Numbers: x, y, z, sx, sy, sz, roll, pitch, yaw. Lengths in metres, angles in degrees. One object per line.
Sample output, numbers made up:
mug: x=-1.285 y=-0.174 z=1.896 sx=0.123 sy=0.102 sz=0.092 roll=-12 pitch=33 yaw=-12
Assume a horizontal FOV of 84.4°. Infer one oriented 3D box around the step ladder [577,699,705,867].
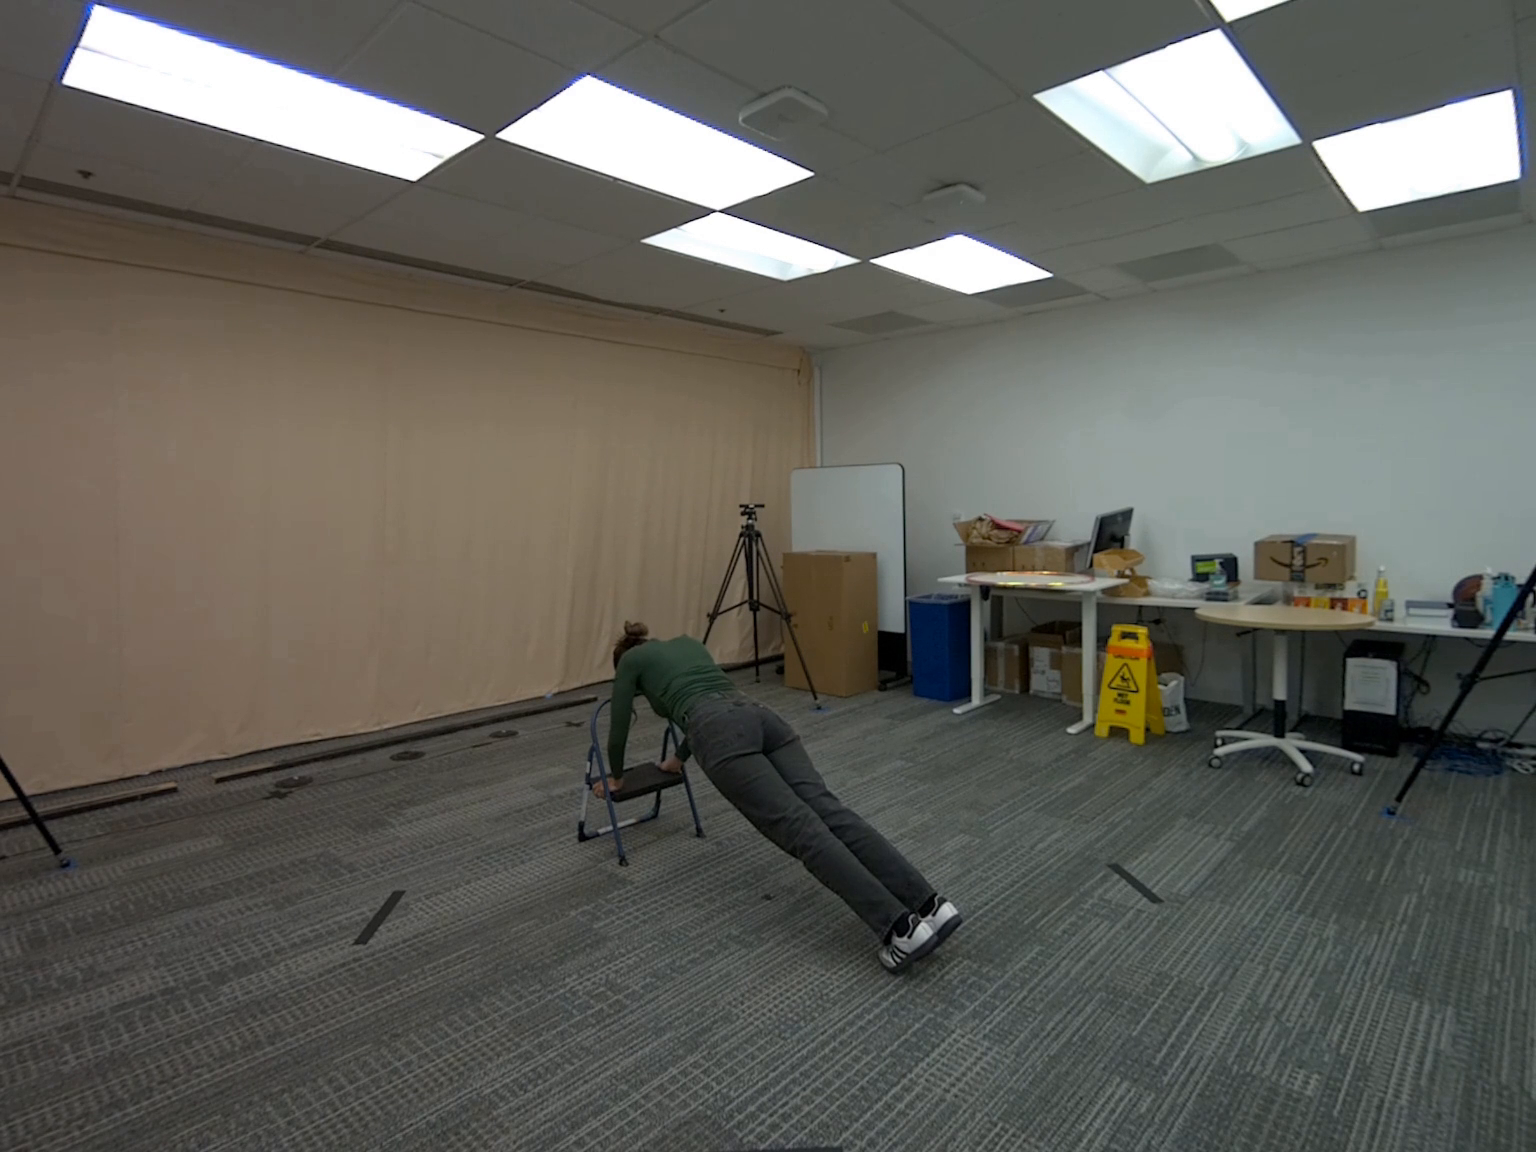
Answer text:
step ladder: x=-0.539 y=0.804 z=3.525 sx=0.417 sy=0.605 sz=0.361 roll=-4 pitch=4 yaw=-43
